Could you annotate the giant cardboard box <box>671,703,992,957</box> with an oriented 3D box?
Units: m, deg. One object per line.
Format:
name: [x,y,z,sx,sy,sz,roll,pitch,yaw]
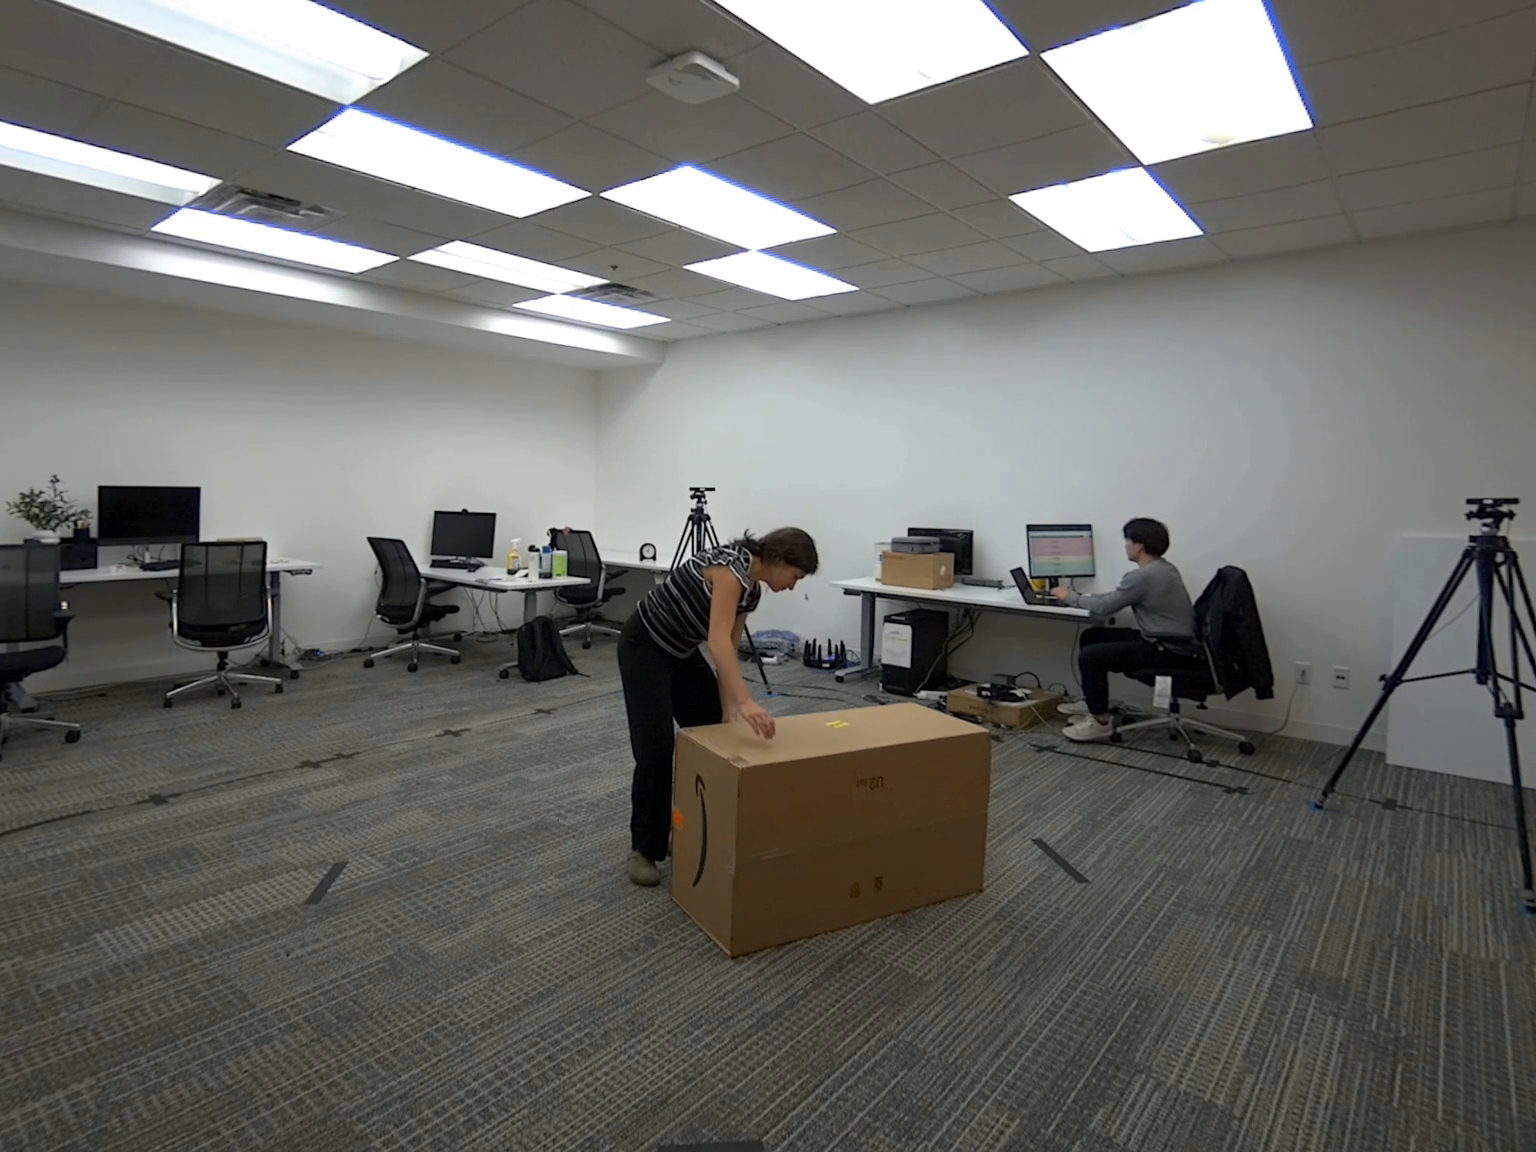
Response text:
giant cardboard box: [0.221,0.804,2.913,0.999,0.575,0.439,-2,5,-29]
